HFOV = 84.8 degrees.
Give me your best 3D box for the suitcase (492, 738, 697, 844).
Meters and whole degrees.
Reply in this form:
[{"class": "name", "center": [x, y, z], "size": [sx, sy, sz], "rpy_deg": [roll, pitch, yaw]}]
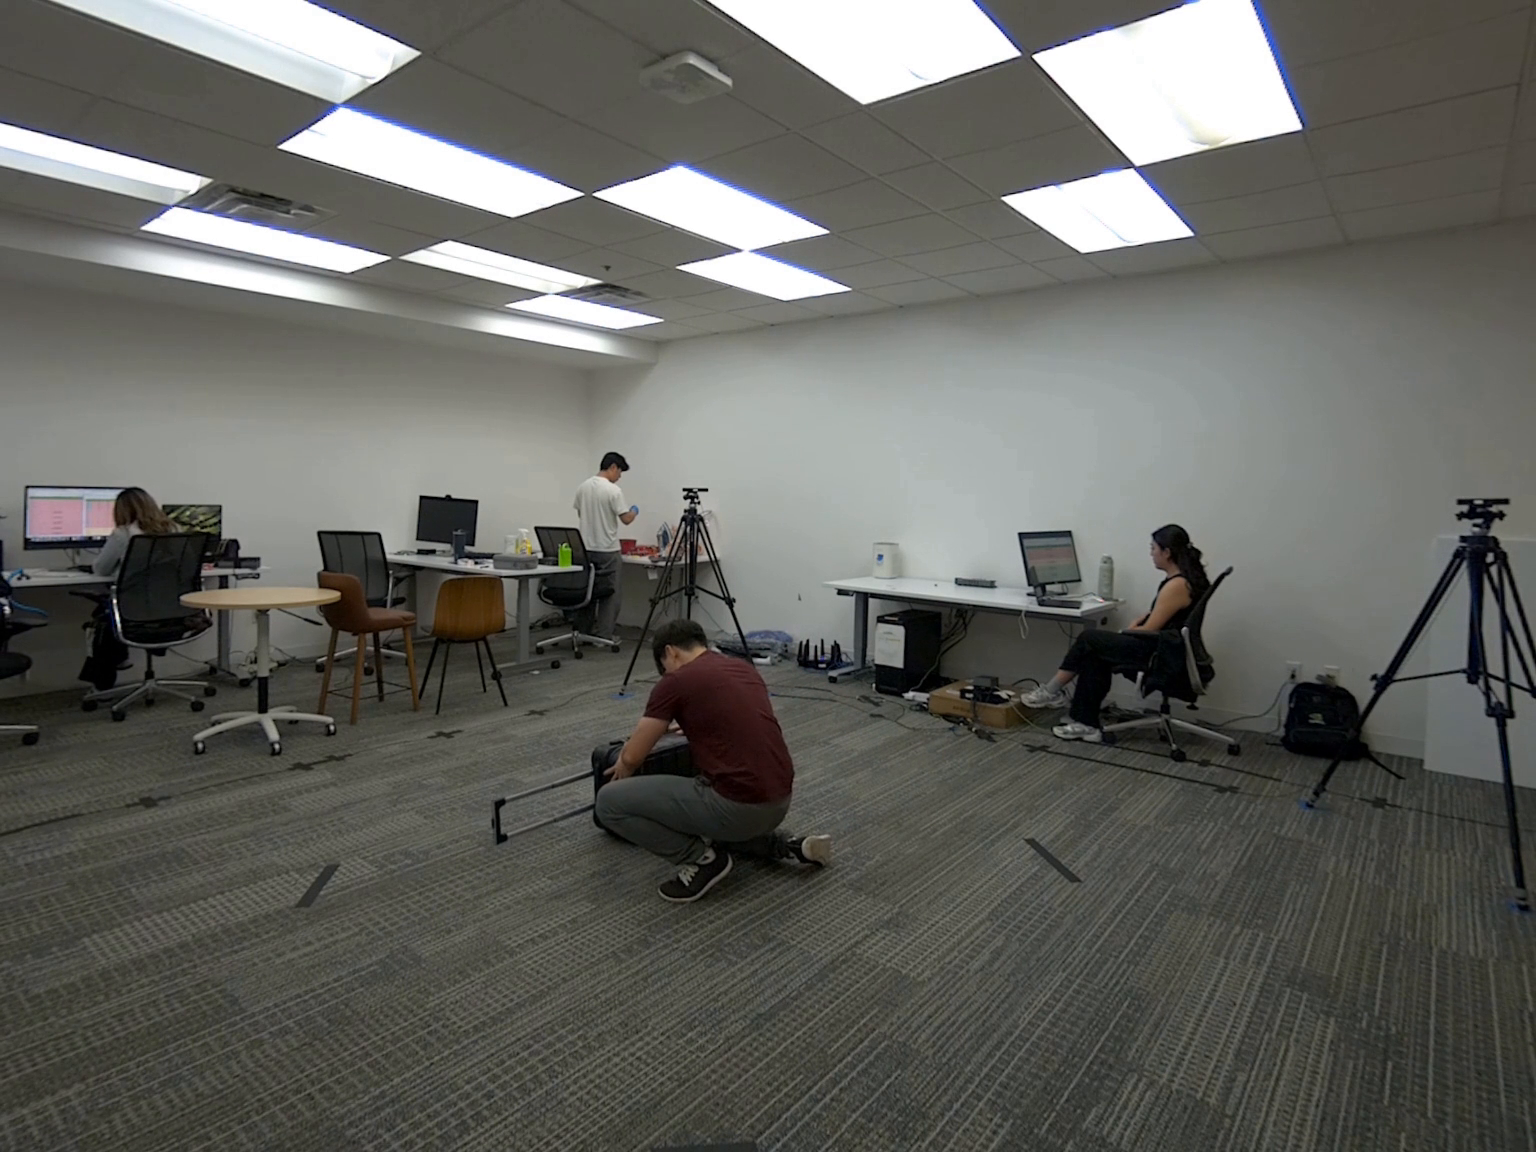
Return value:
[{"class": "suitcase", "center": [-0.605, 0.841, 3.357], "size": [0.265, 0.384, 0.949], "rpy_deg": [0, 2, 41]}]
